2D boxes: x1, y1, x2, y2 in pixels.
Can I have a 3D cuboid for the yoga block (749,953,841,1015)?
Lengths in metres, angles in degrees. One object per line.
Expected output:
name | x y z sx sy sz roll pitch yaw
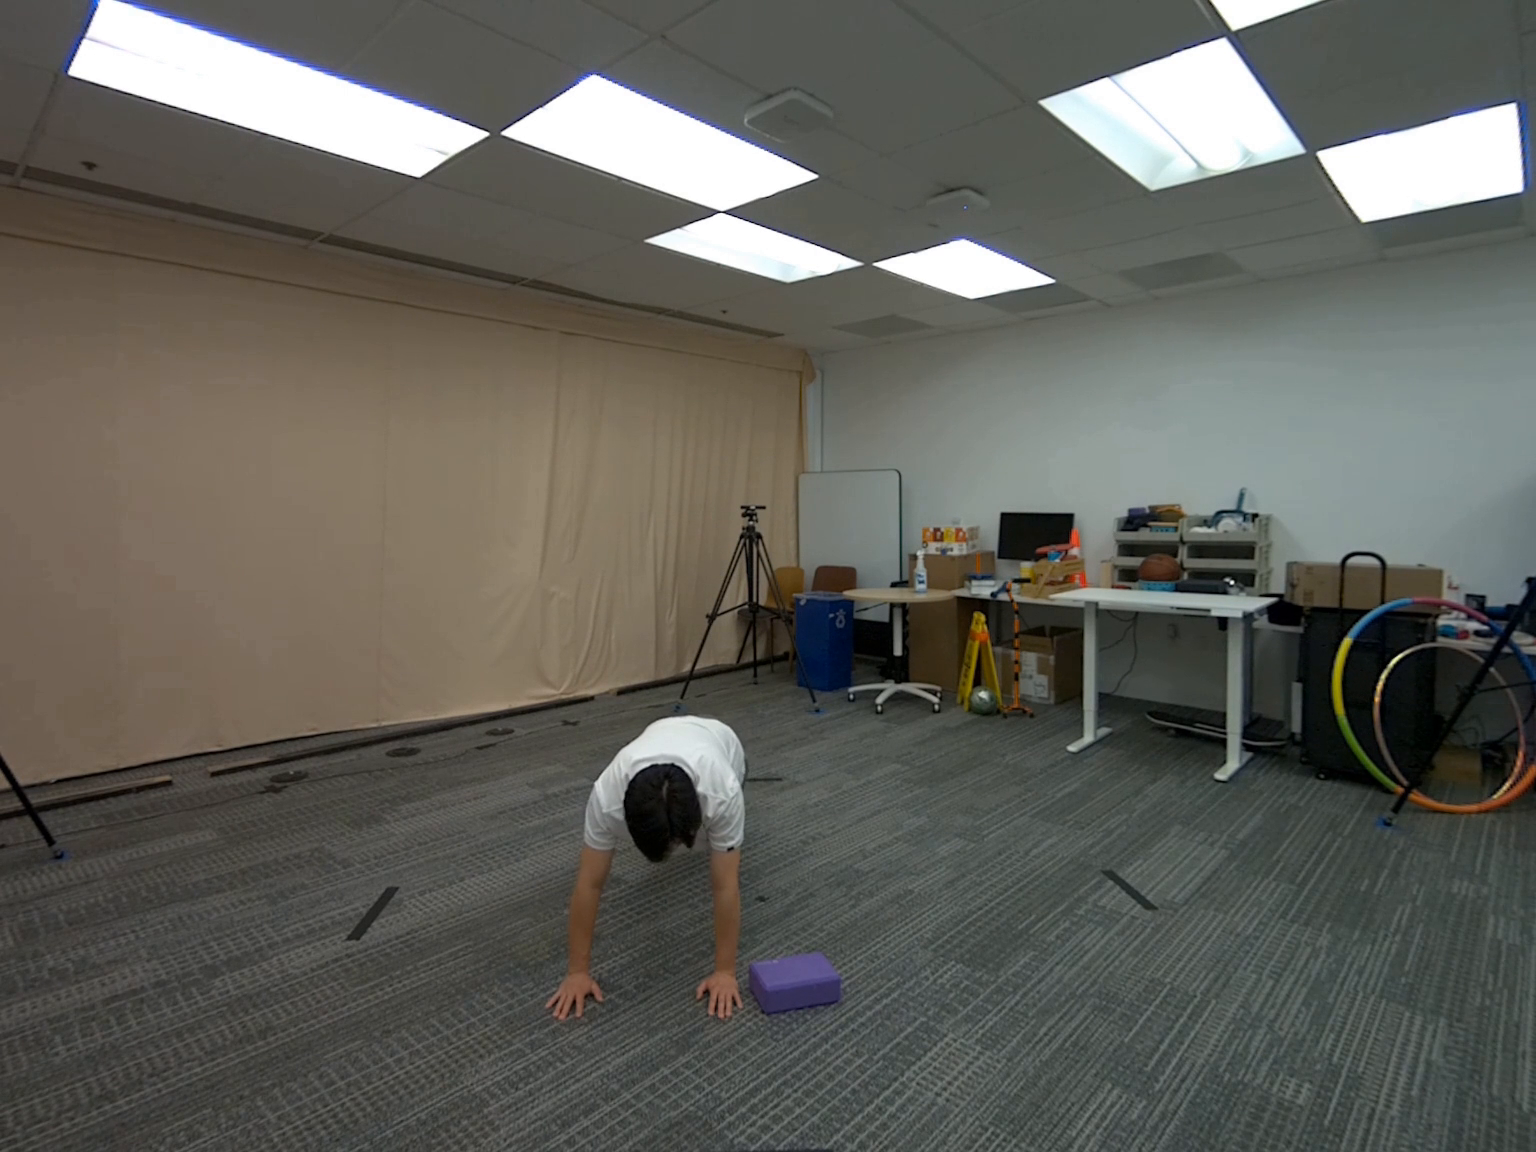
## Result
yoga block | 0.087 1.159 2.387 0.225 0.076 0.152 -1 4 -17
